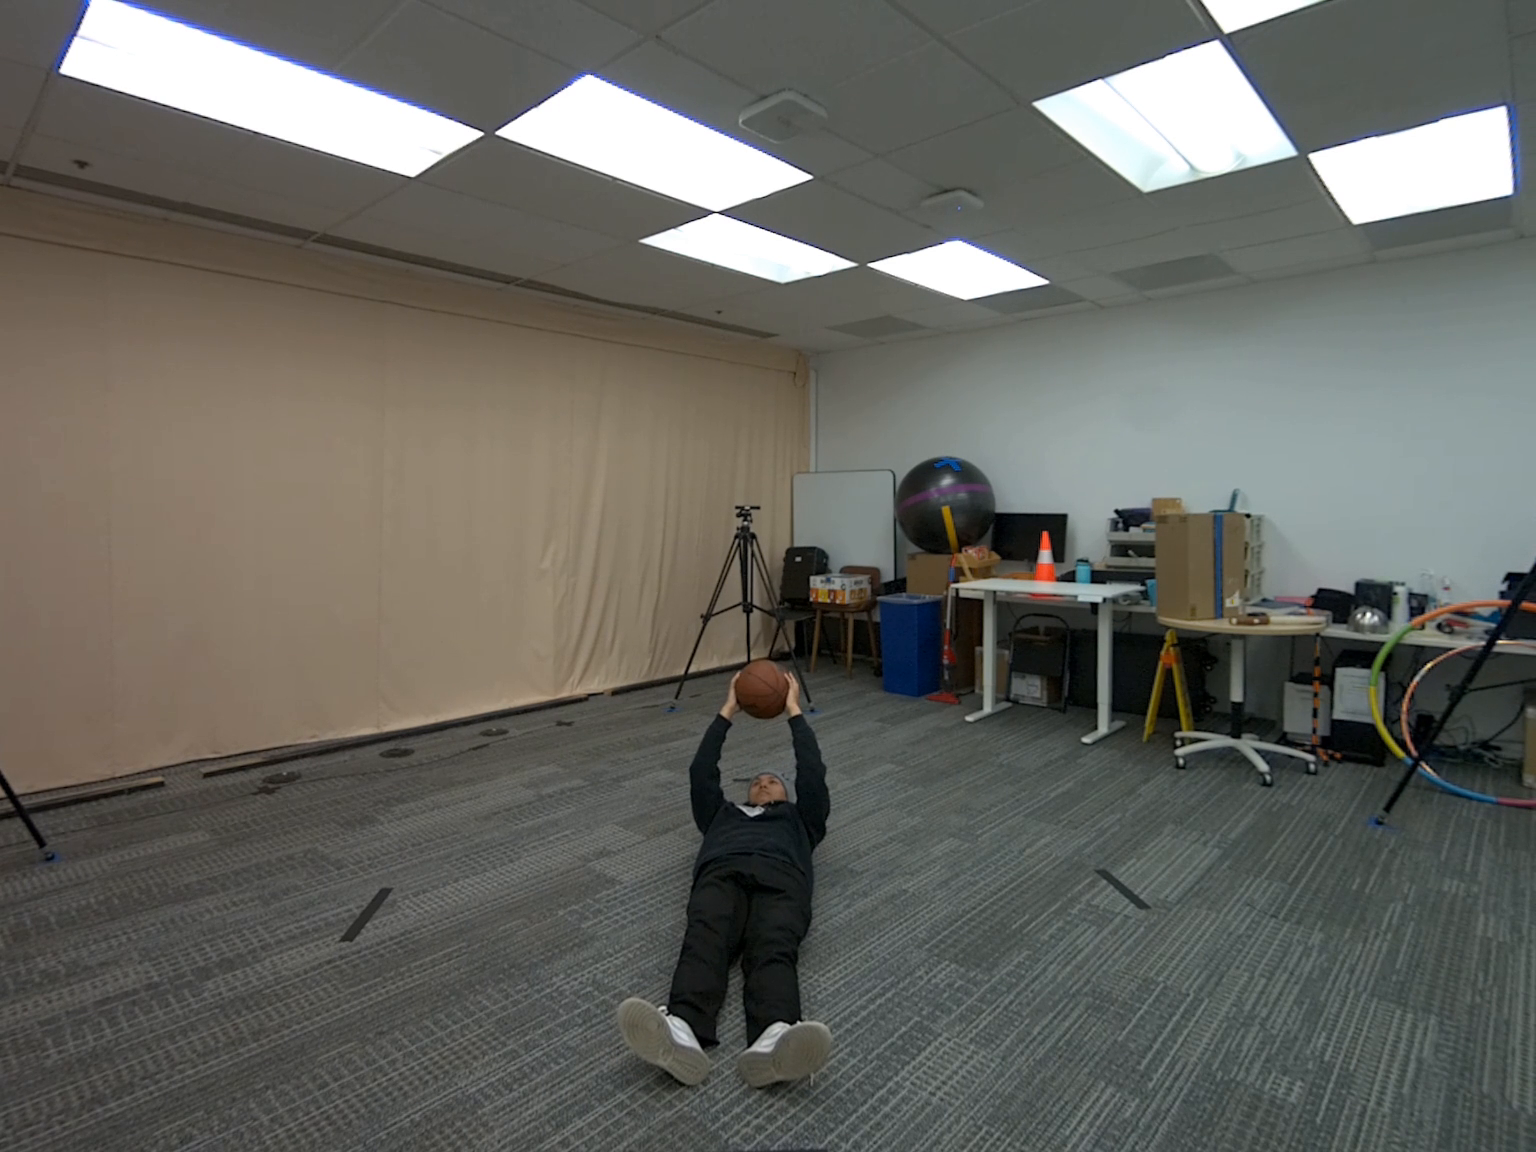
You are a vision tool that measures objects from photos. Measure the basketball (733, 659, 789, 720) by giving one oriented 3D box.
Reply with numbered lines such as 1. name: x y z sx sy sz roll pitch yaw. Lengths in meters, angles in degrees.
1. basketball: -0.007 0.467 3.441 0.236 0.235 0.237 0 4 -2
